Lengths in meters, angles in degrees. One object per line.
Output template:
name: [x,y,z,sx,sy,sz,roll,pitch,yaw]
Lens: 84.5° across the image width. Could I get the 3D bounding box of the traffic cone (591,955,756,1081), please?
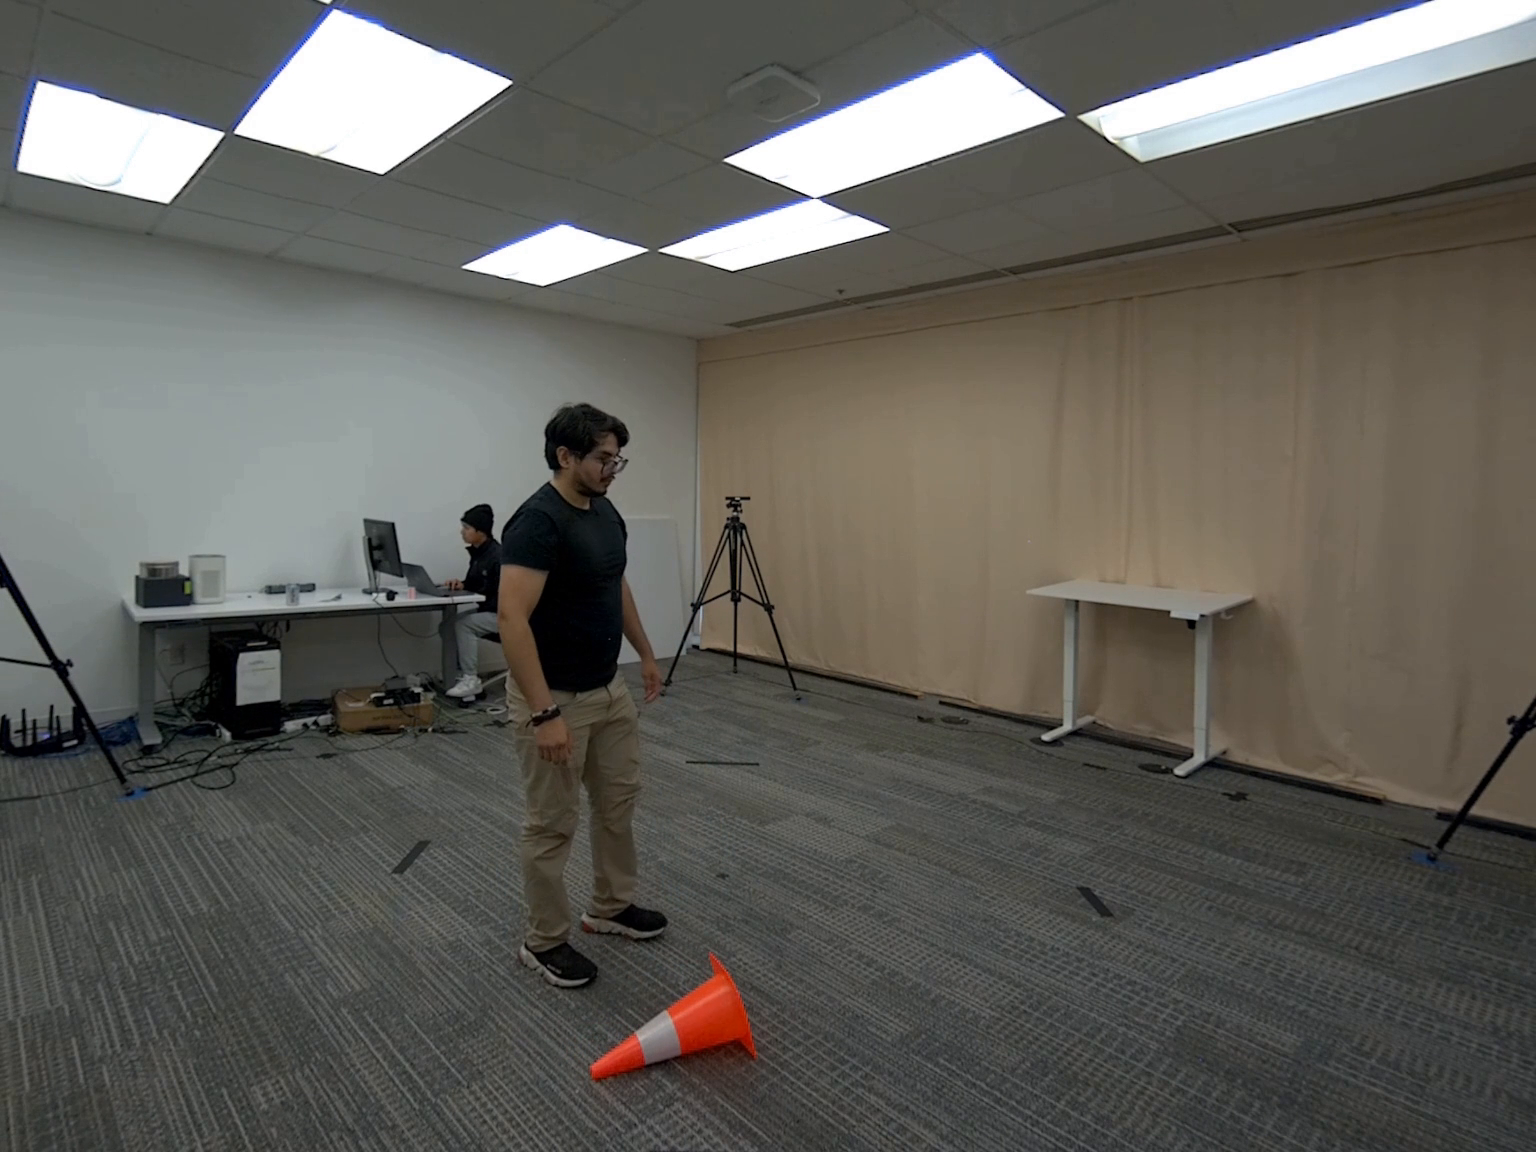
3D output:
traffic cone: [-0.262,1.154,2.077,0.379,0.201,0.209,-16,12,-23]
